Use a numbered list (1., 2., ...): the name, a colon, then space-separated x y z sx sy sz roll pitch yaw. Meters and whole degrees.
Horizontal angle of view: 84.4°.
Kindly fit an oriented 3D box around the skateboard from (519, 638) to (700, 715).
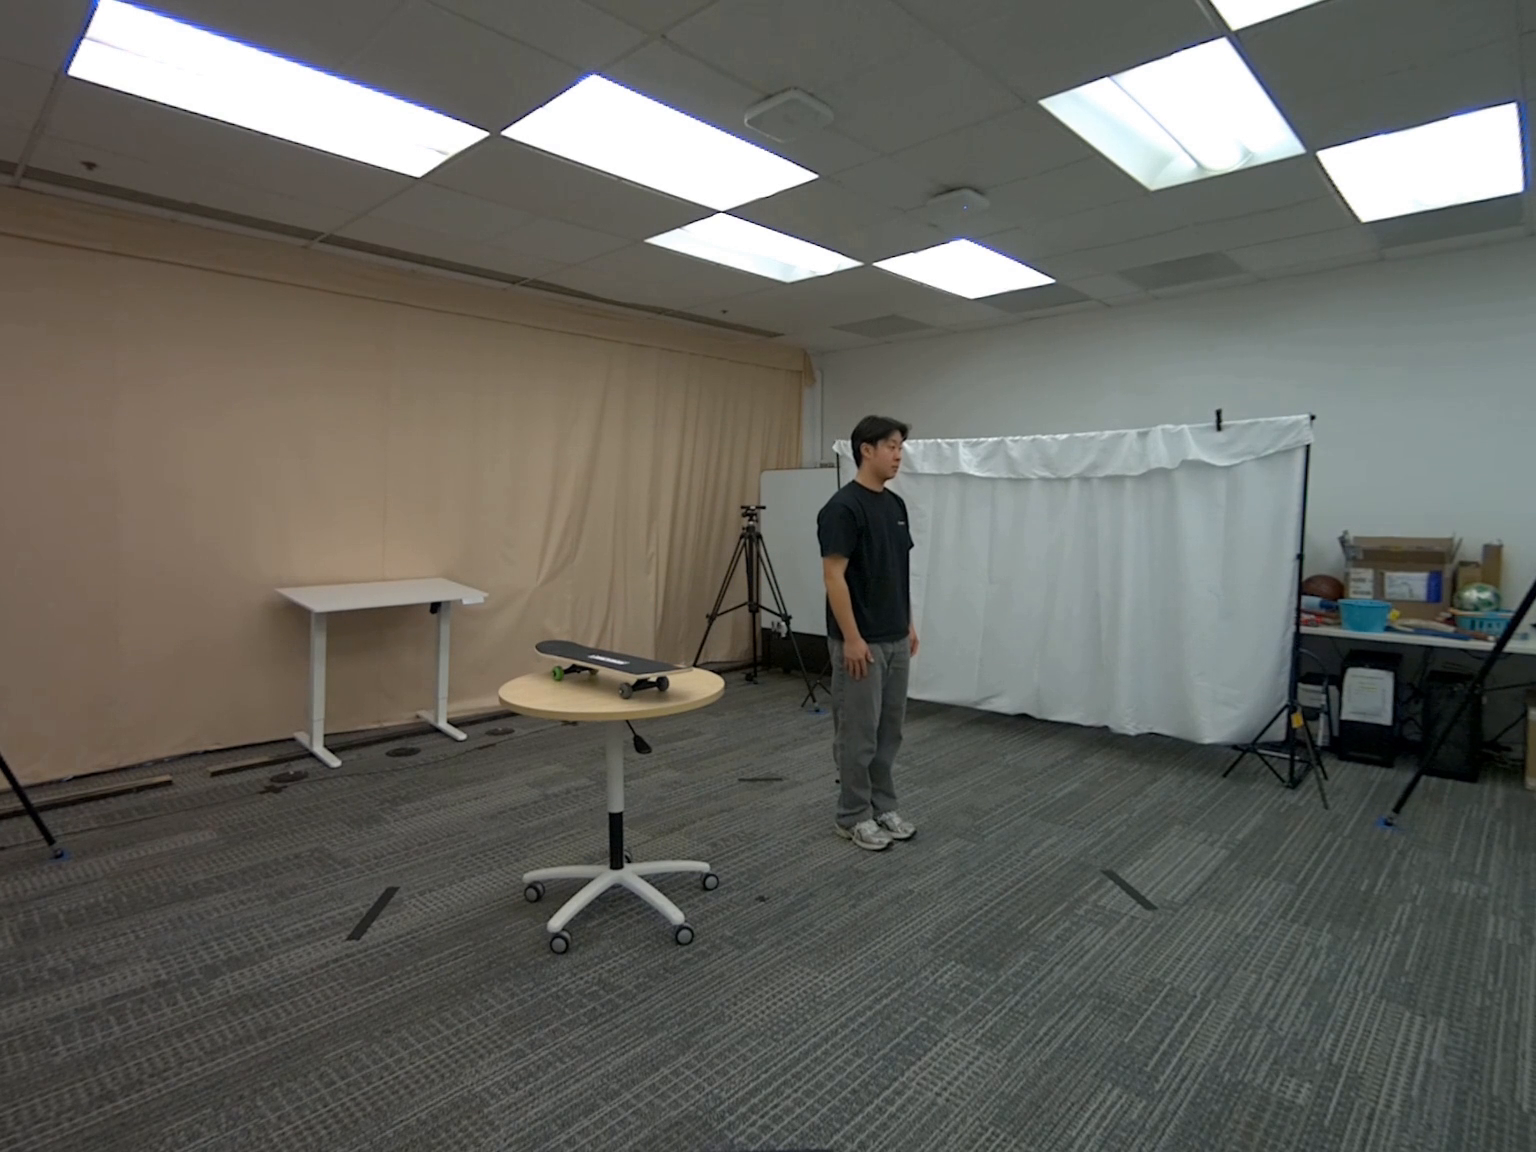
1. skateboard: -0.564 0.324 2.875 0.188 0.110 0.812 -6 8 -43
